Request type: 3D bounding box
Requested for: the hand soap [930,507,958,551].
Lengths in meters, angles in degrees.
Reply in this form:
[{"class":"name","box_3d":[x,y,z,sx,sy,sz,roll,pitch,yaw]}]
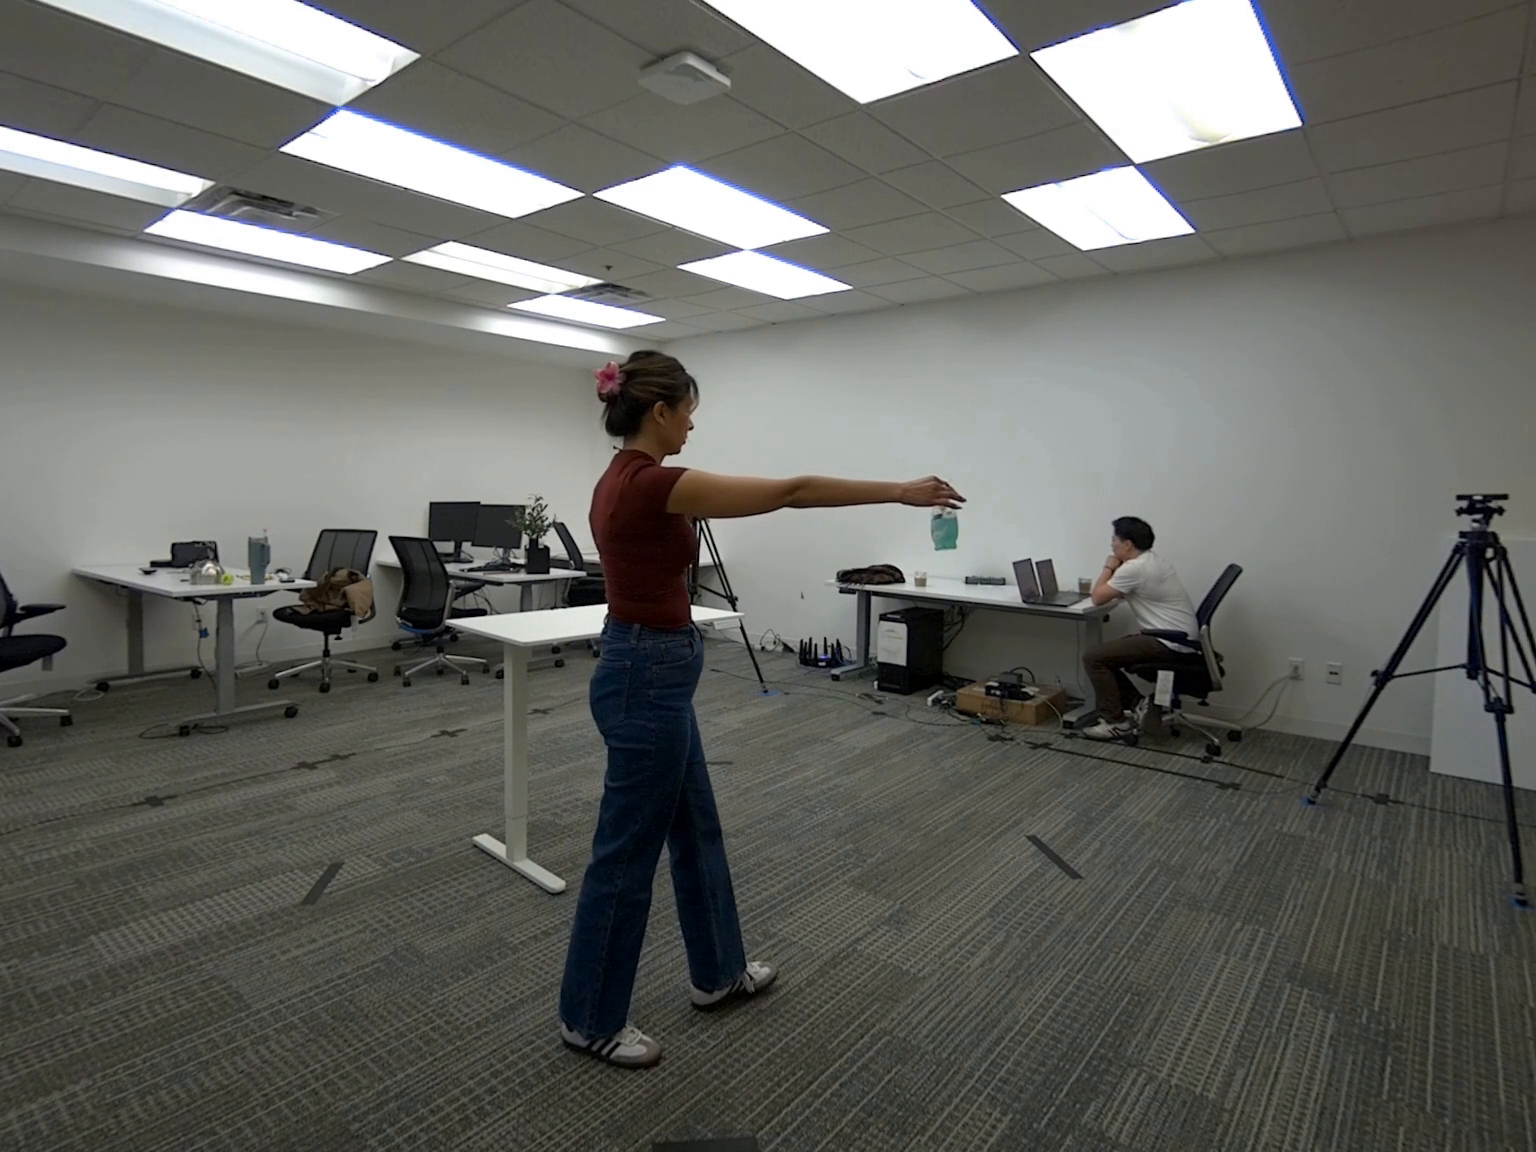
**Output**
[{"class":"hand soap","box_3d":[0.413,-0.147,2.028,0.042,0.169,0.086,0,-5,-21]}]
